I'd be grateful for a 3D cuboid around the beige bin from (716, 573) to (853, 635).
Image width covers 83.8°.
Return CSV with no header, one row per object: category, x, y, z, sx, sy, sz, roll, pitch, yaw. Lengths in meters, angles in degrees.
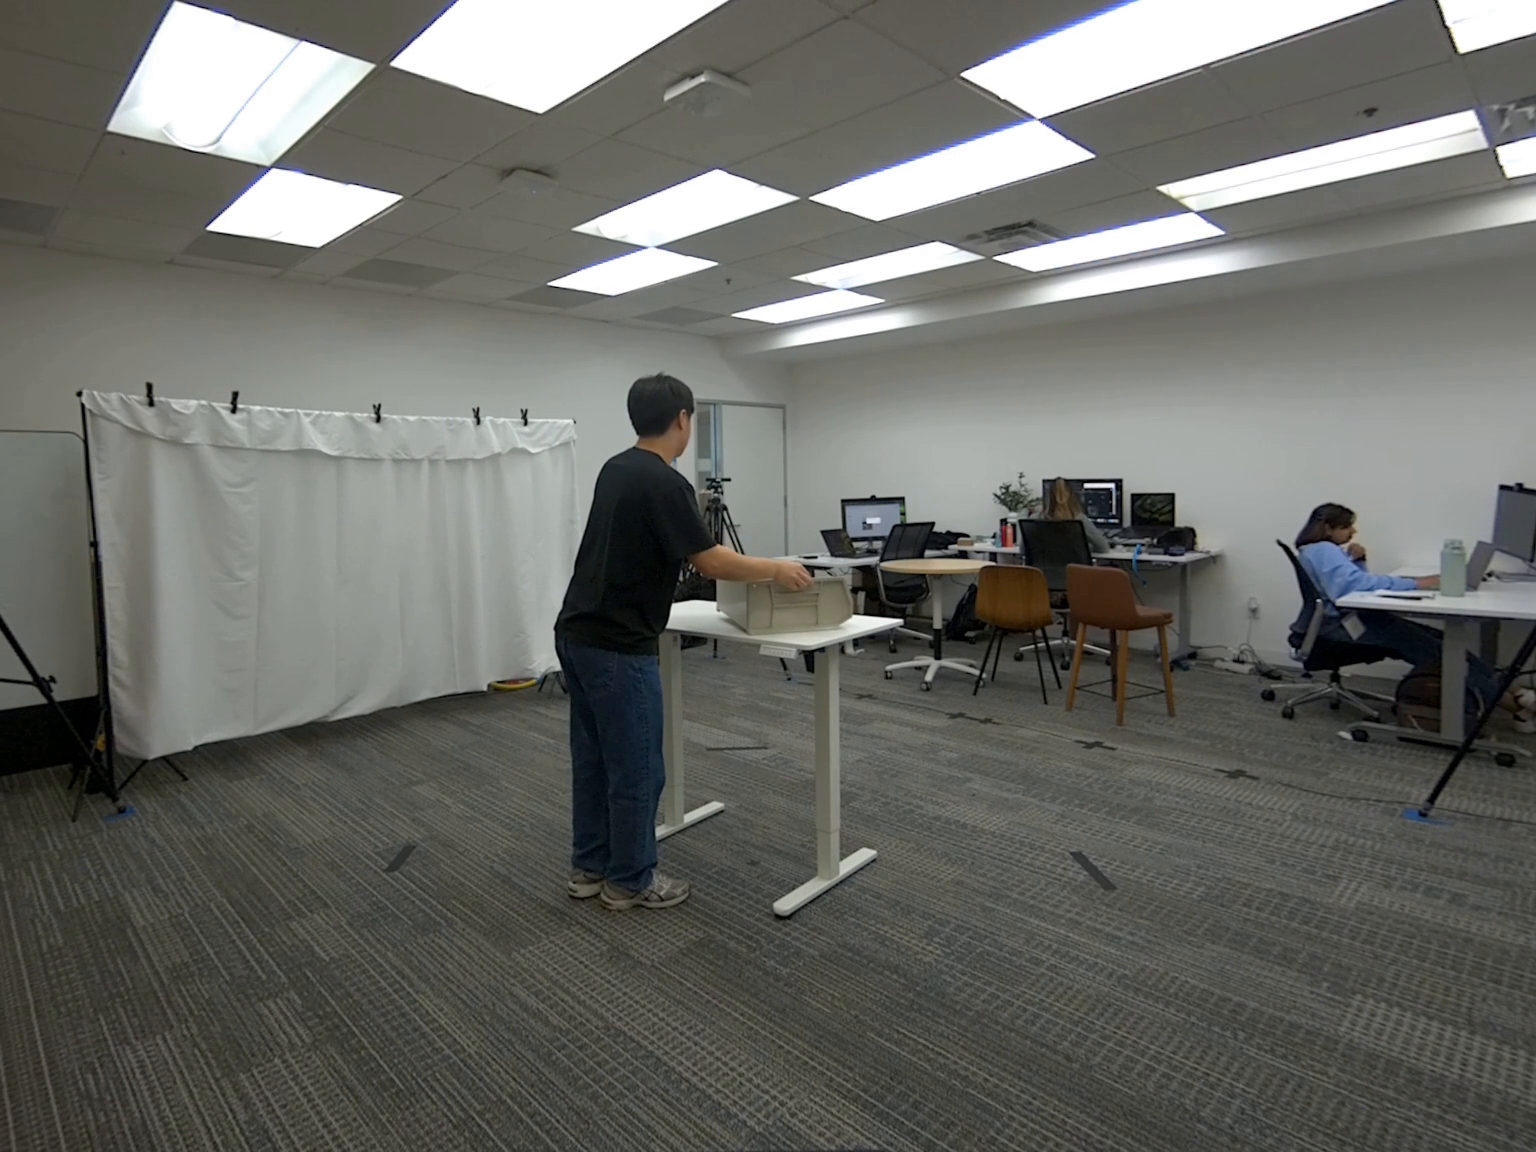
beige bin,0.044,0.064,3.003,0.371,0.188,0.432,-2,9,-18
